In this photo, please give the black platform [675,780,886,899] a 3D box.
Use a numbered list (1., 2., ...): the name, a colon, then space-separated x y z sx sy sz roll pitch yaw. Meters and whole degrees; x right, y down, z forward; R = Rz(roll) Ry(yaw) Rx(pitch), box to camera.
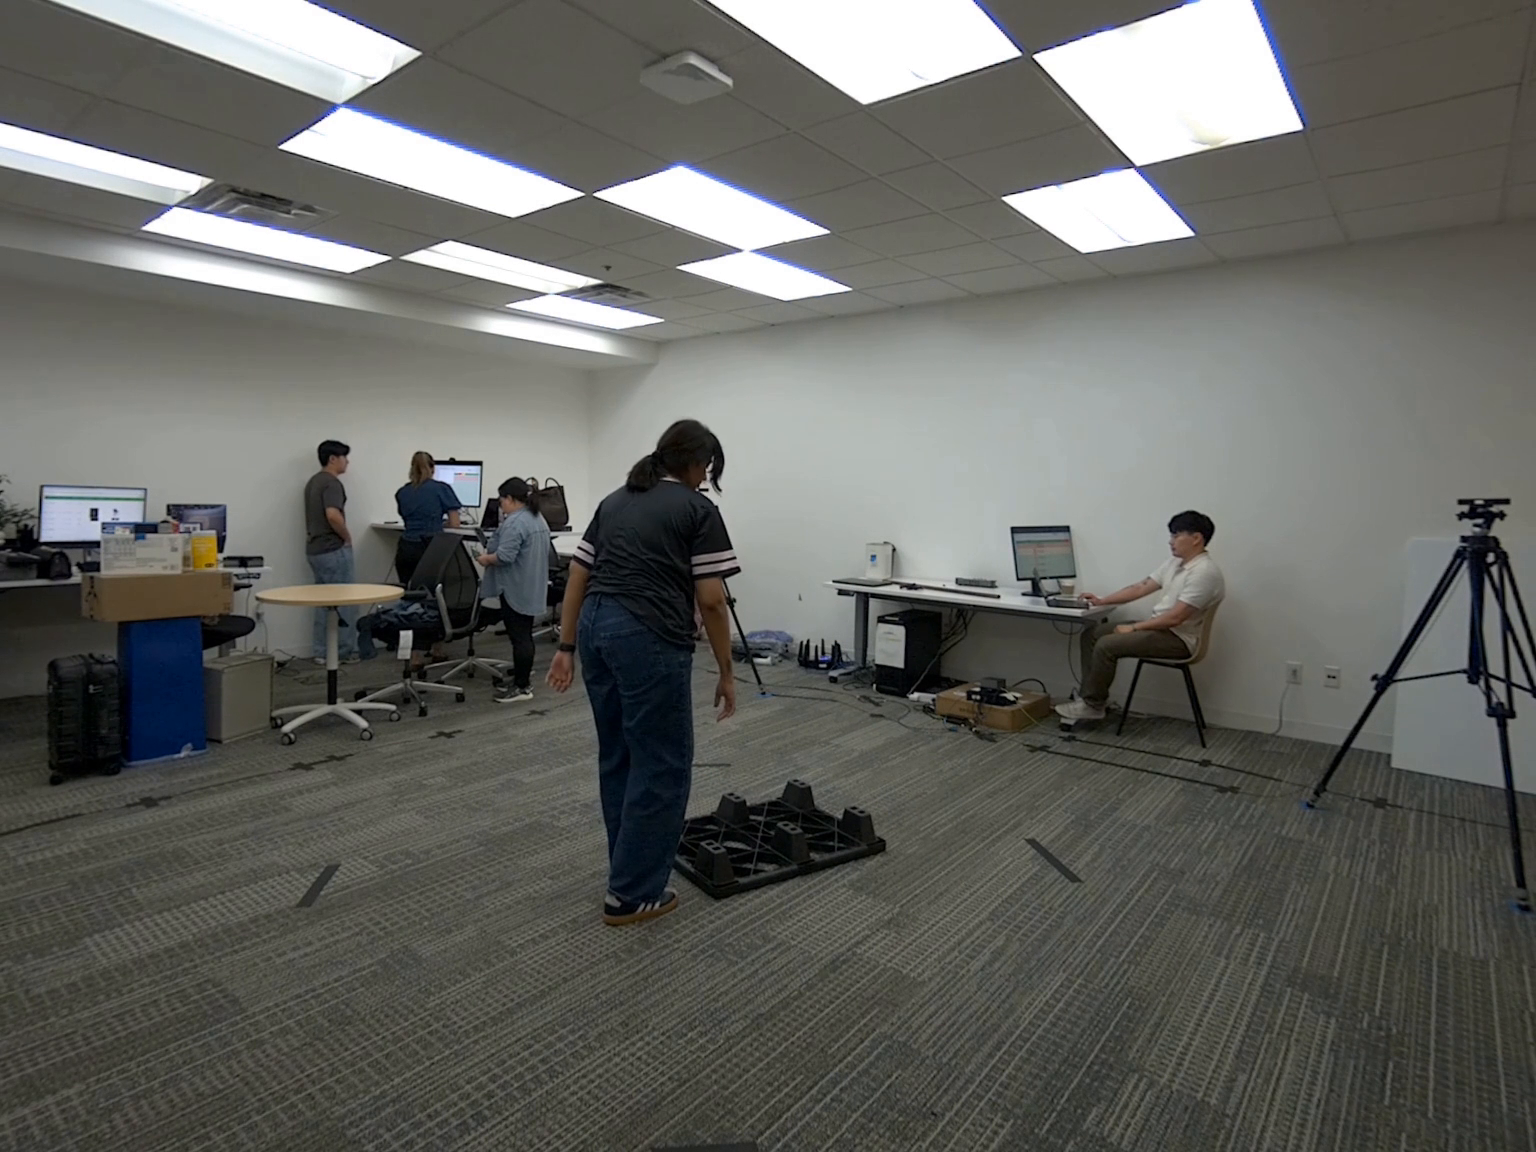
1. black platform: -0.039 0.987 3.325 0.782 0.143 0.625 -3 7 -35
